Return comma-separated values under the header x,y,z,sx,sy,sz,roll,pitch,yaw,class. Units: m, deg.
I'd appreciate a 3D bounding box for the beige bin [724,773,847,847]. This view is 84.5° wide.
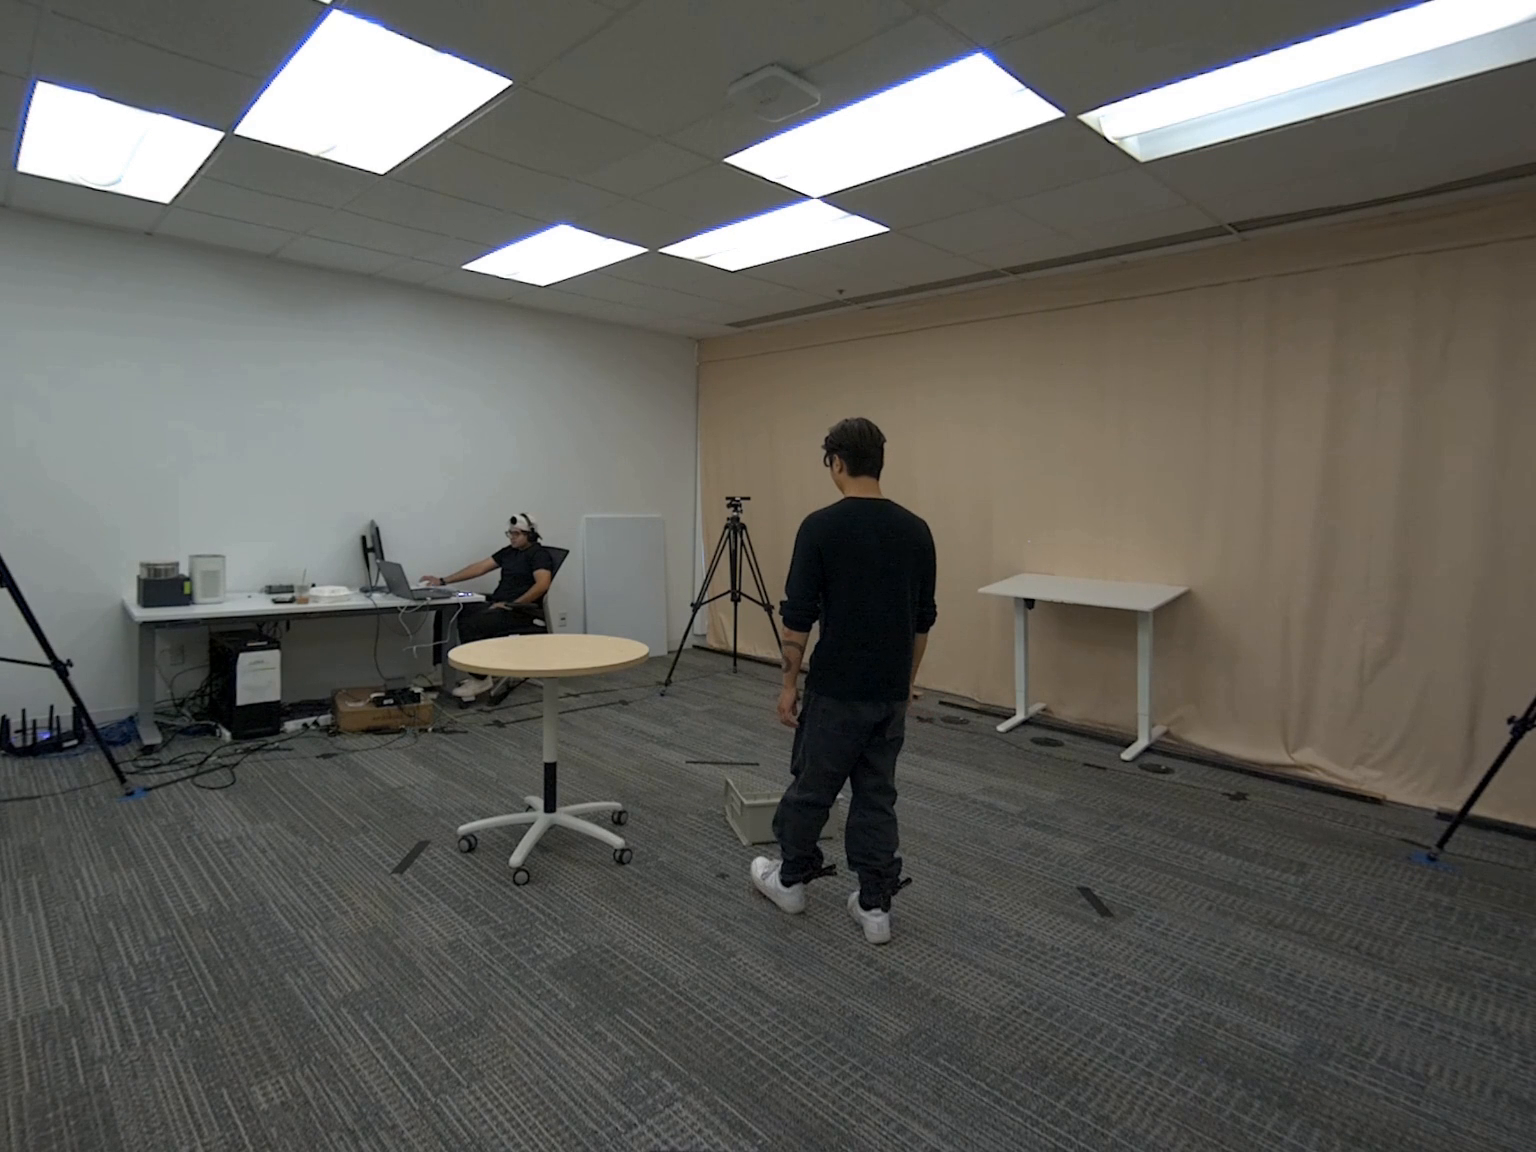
x,y,z,sx,sy,sz,roll,pitch,yaw,class
0.047,0.982,3.599,0.417,0.188,0.383,1,5,-15,beige bin
